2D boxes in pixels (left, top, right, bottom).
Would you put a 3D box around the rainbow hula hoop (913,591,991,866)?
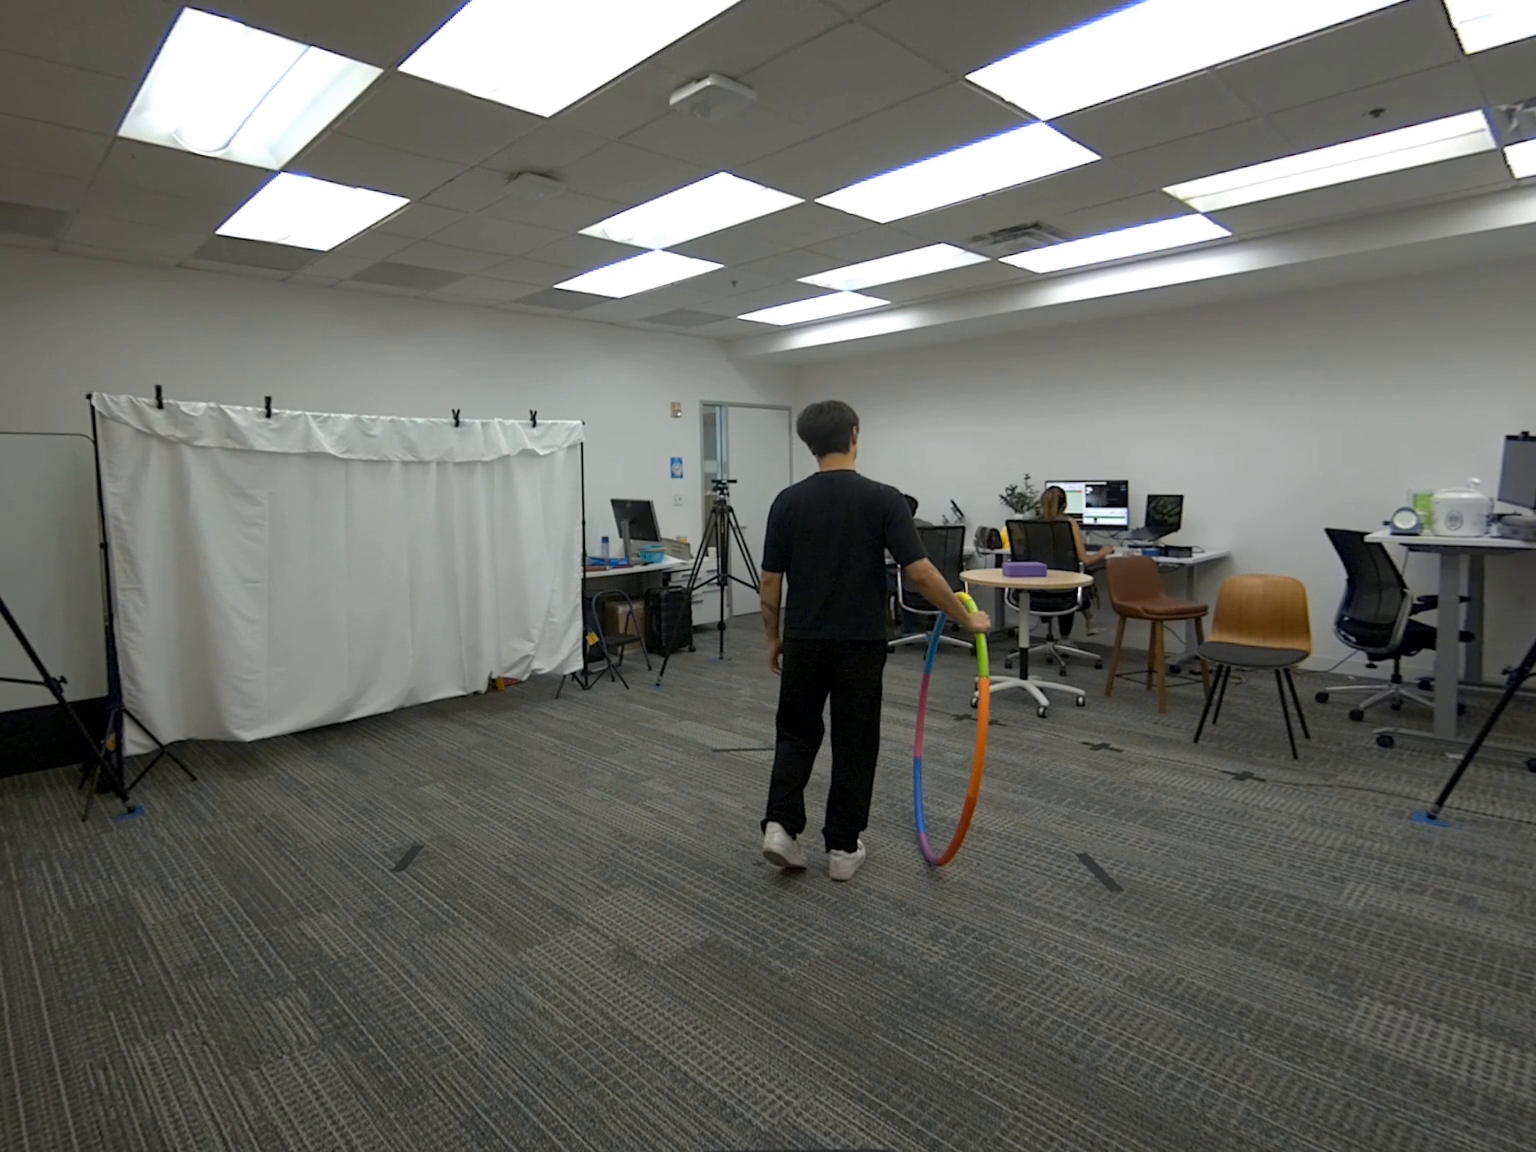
[{"bbox_3d":[0.658,0.552,3.163,0.035,0.975,0.981,9,5,-1],"label":"rainbow hula hoop"}]
